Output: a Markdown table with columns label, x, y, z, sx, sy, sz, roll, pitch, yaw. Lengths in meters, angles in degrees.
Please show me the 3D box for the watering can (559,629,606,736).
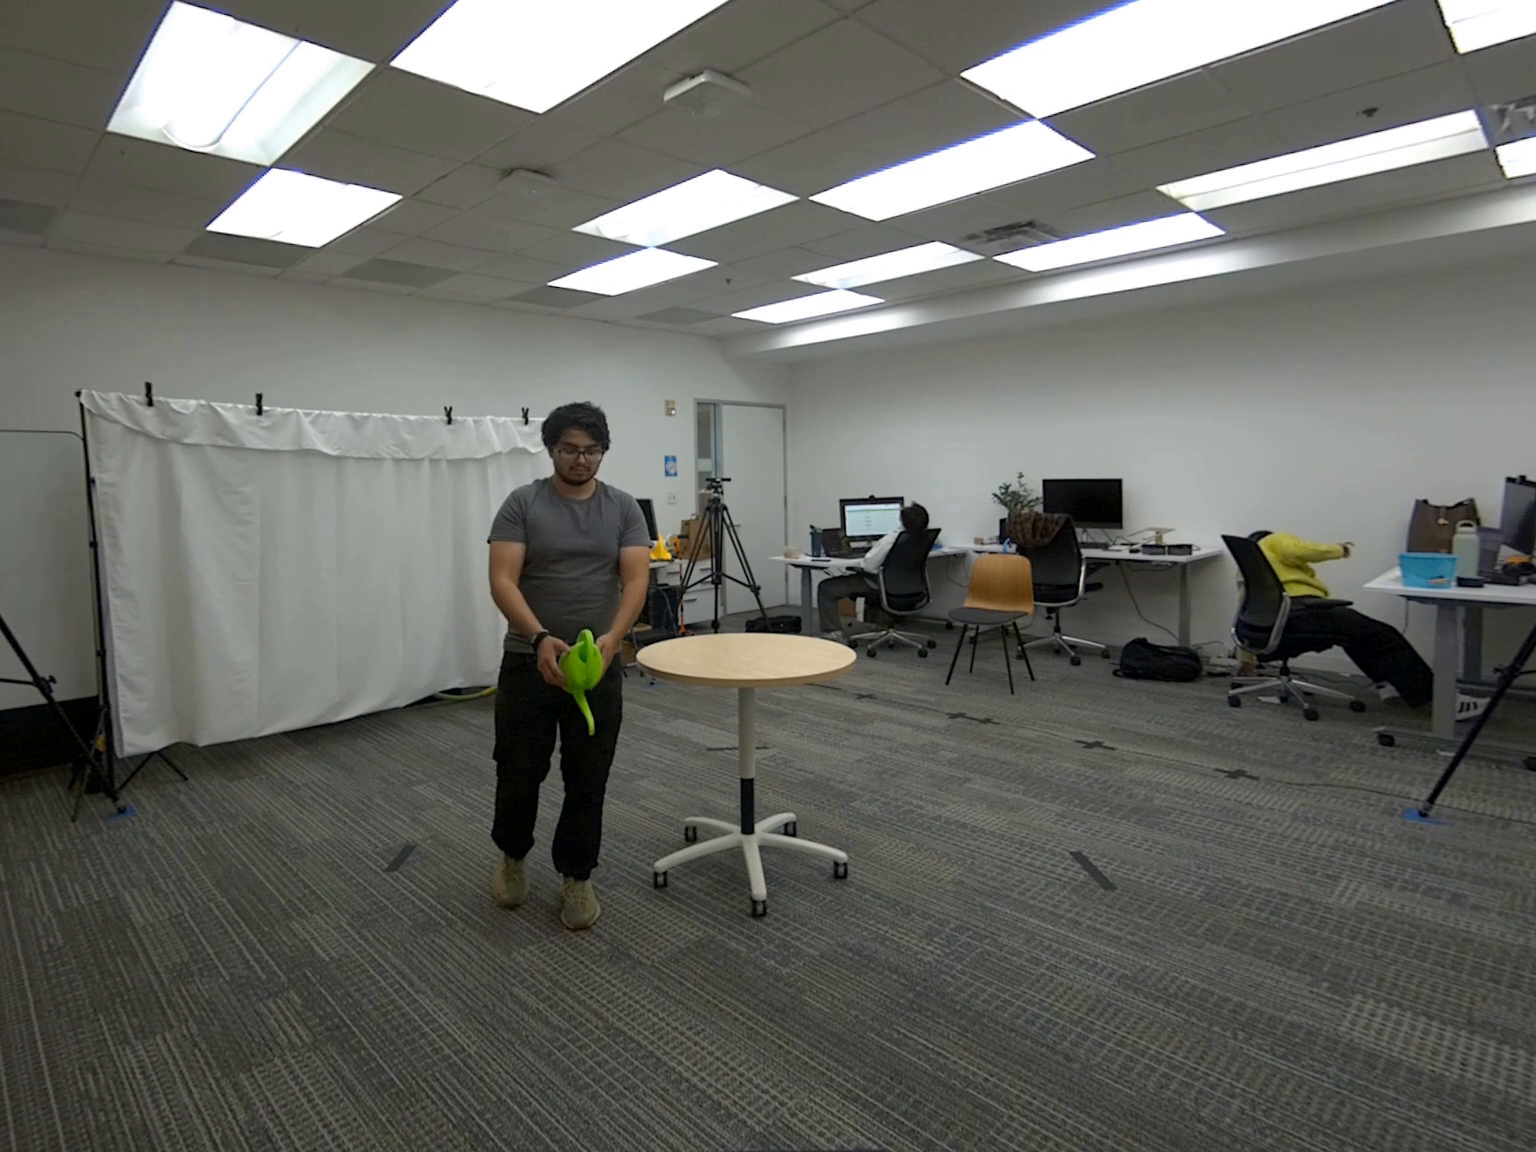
| label | x | y | z | sx | sy | sz | roll | pitch | yaw |
| --- | --- | --- | --- | --- | --- | --- | --- | --- | --- |
| watering can | -0.526 | 0.291 | 2.347 | 0.096 | 0.282 | 0.177 | 15 | -20 | -15 |
